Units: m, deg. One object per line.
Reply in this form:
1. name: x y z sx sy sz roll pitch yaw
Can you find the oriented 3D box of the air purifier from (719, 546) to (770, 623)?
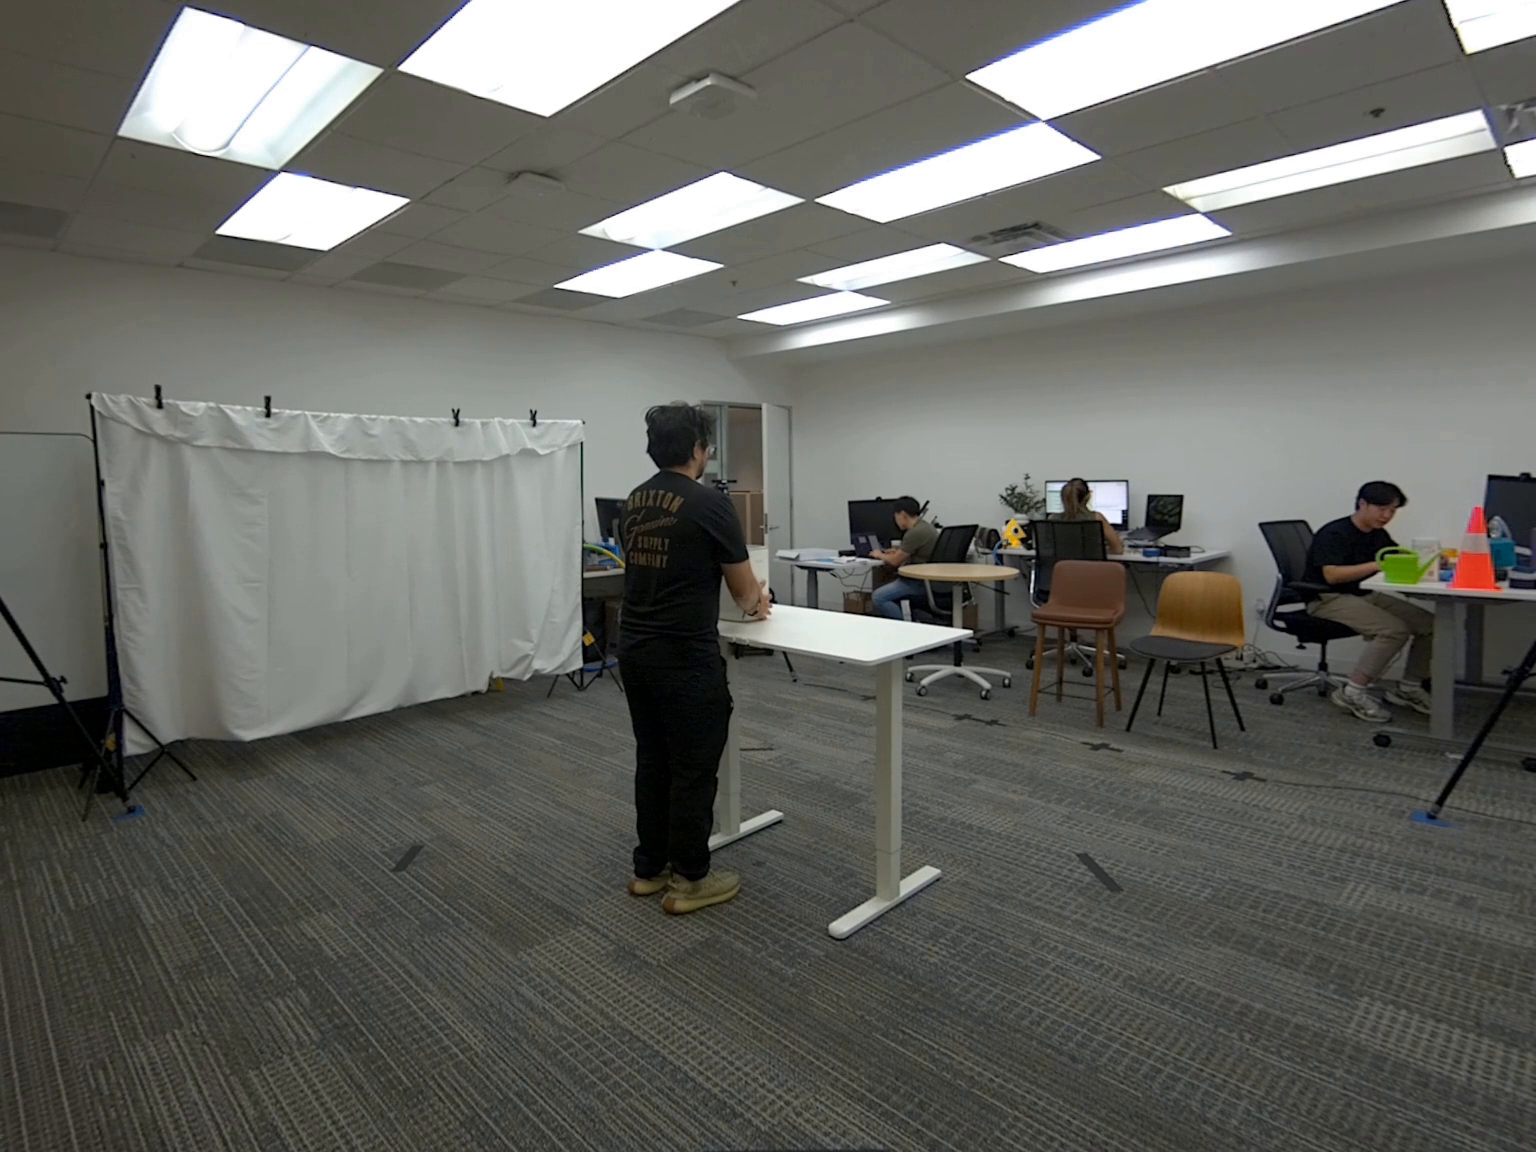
1. air purifier: -0.092 0.023 3.149 0.177 0.264 0.167 2 7 42
